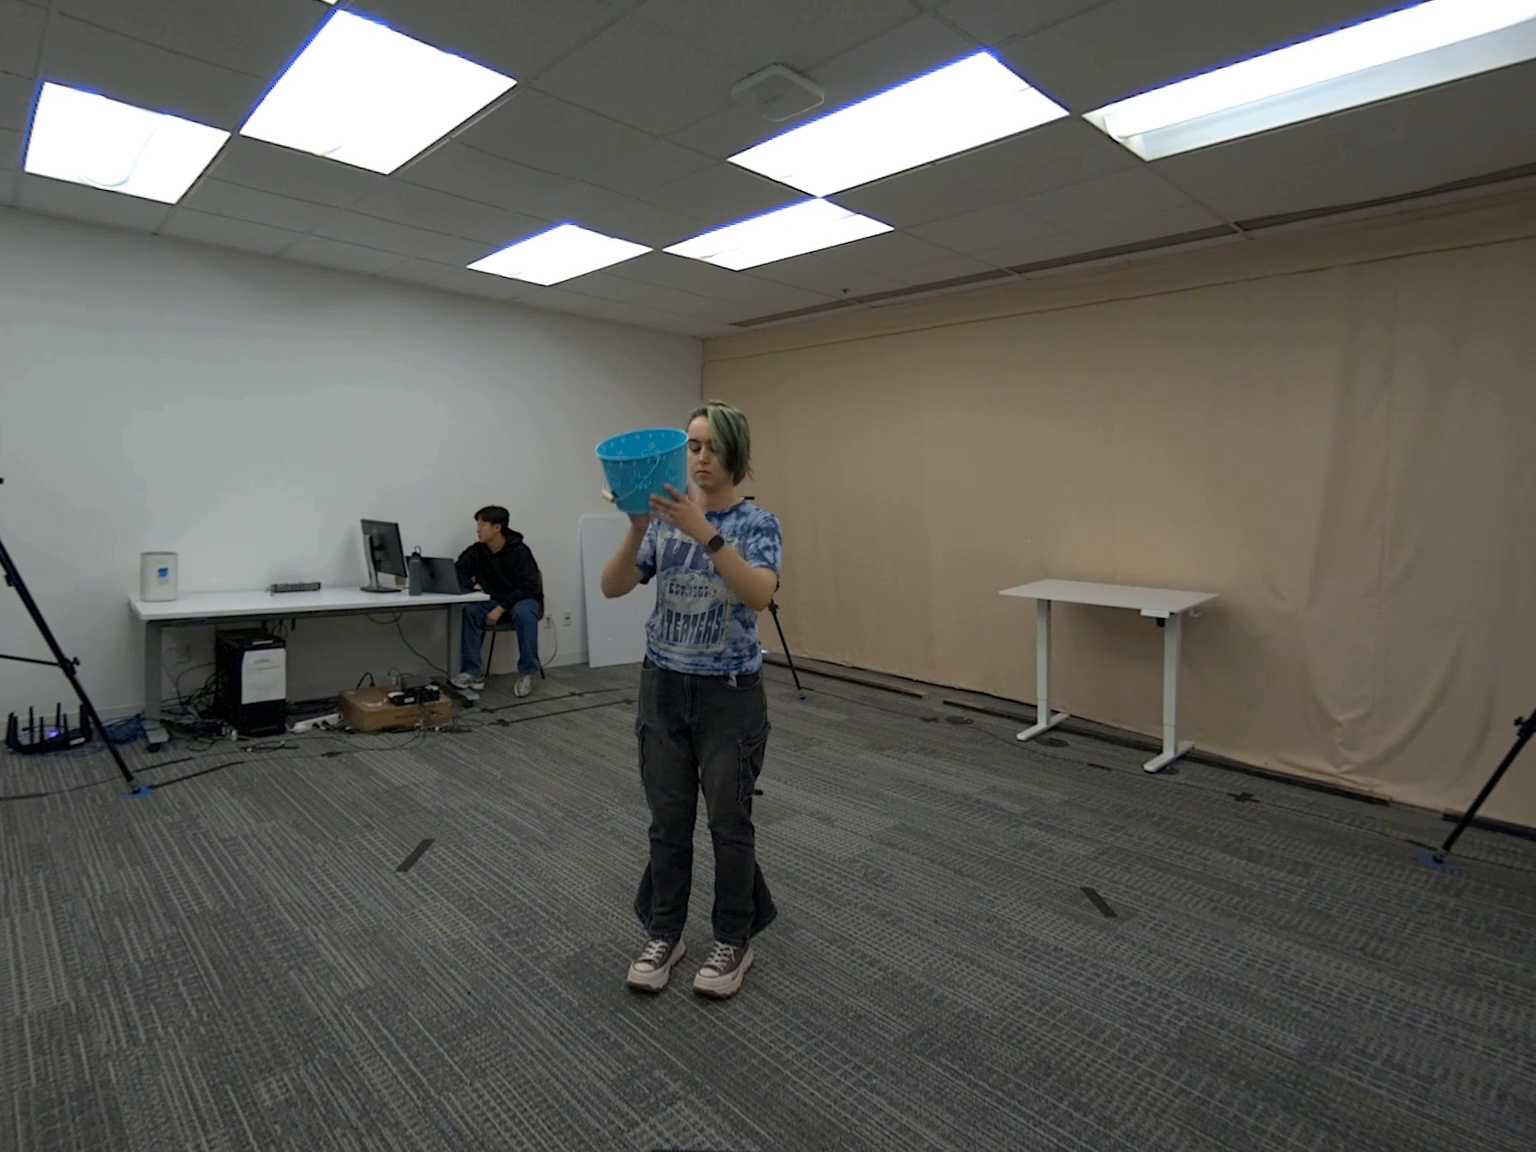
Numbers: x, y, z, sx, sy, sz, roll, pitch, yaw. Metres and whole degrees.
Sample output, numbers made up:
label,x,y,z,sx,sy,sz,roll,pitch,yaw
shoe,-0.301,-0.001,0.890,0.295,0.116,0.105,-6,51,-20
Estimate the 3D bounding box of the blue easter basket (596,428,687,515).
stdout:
label,x,y,z,sx,sy,sz,roll,pitch,yaw
blue easter basket,-0.316,-0.266,2.097,0.244,0.153,0.248,-7,26,2
